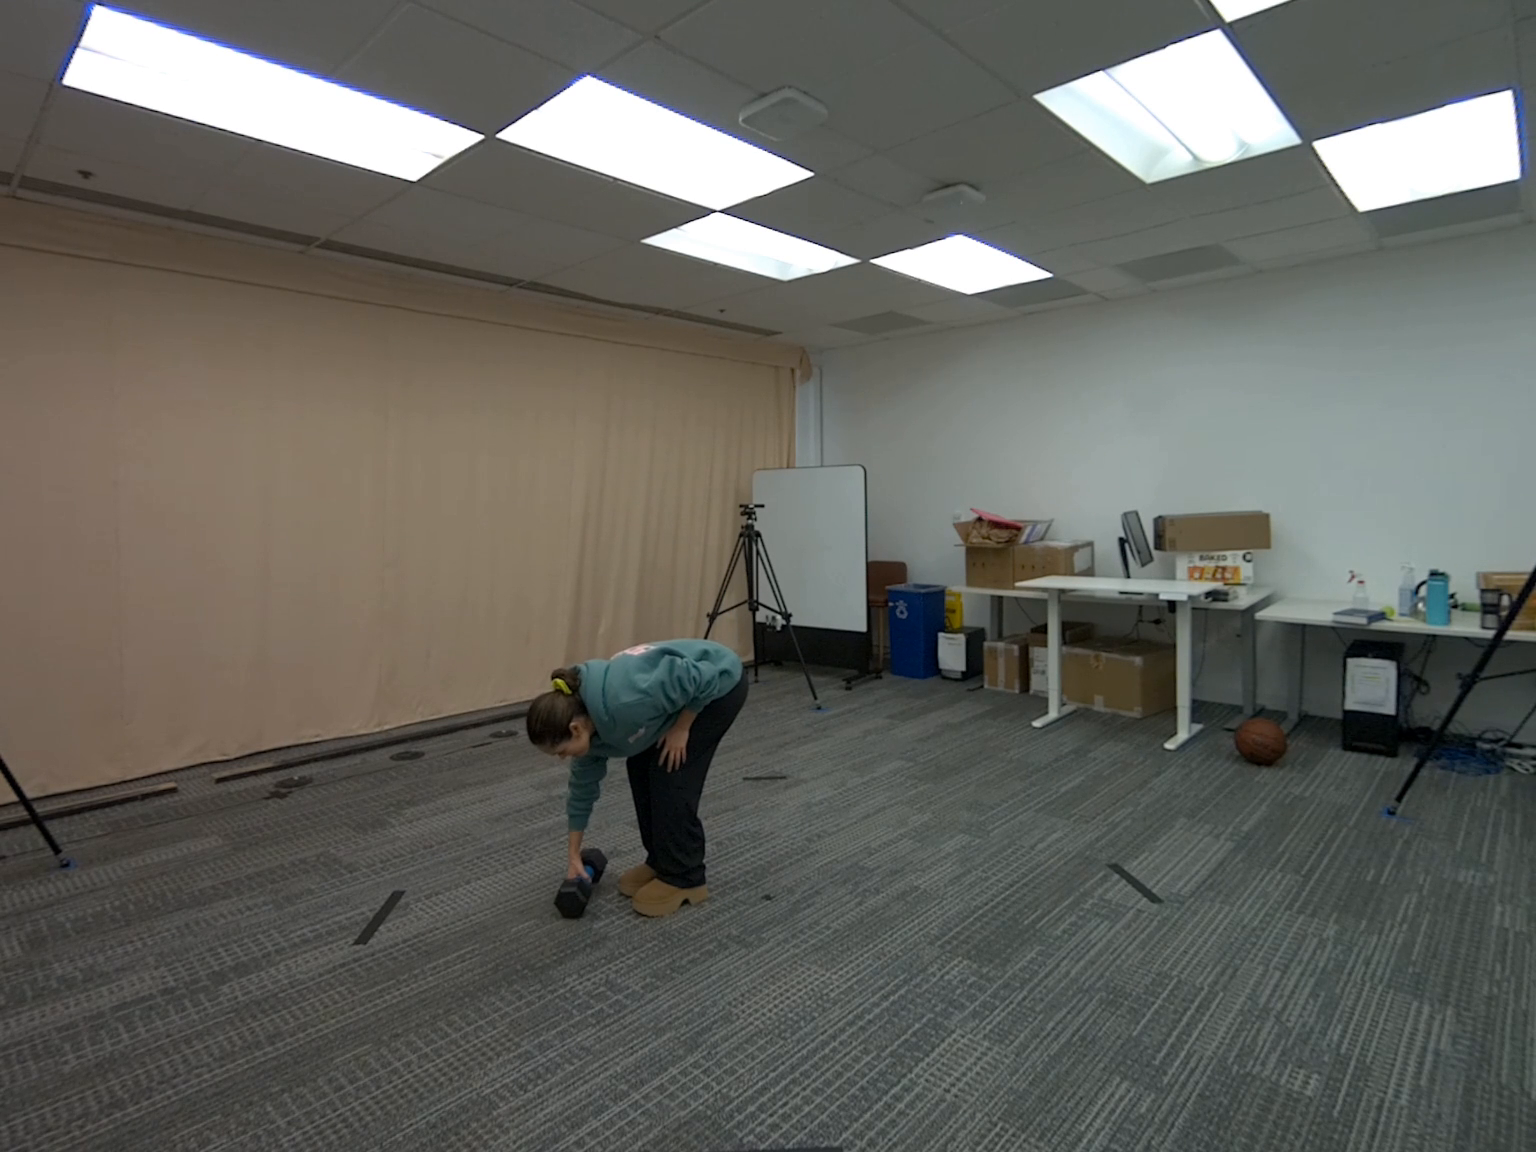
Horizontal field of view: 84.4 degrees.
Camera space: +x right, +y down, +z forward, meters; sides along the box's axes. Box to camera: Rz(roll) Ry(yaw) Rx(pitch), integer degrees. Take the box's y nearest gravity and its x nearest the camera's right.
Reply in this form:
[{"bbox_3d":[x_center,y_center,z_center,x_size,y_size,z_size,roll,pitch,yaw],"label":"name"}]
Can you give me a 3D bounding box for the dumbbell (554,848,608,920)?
[{"bbox_3d":[-0.654,1.076,2.984,0.109,0.123,0.293,23,10,0],"label":"dumbbell"}]
